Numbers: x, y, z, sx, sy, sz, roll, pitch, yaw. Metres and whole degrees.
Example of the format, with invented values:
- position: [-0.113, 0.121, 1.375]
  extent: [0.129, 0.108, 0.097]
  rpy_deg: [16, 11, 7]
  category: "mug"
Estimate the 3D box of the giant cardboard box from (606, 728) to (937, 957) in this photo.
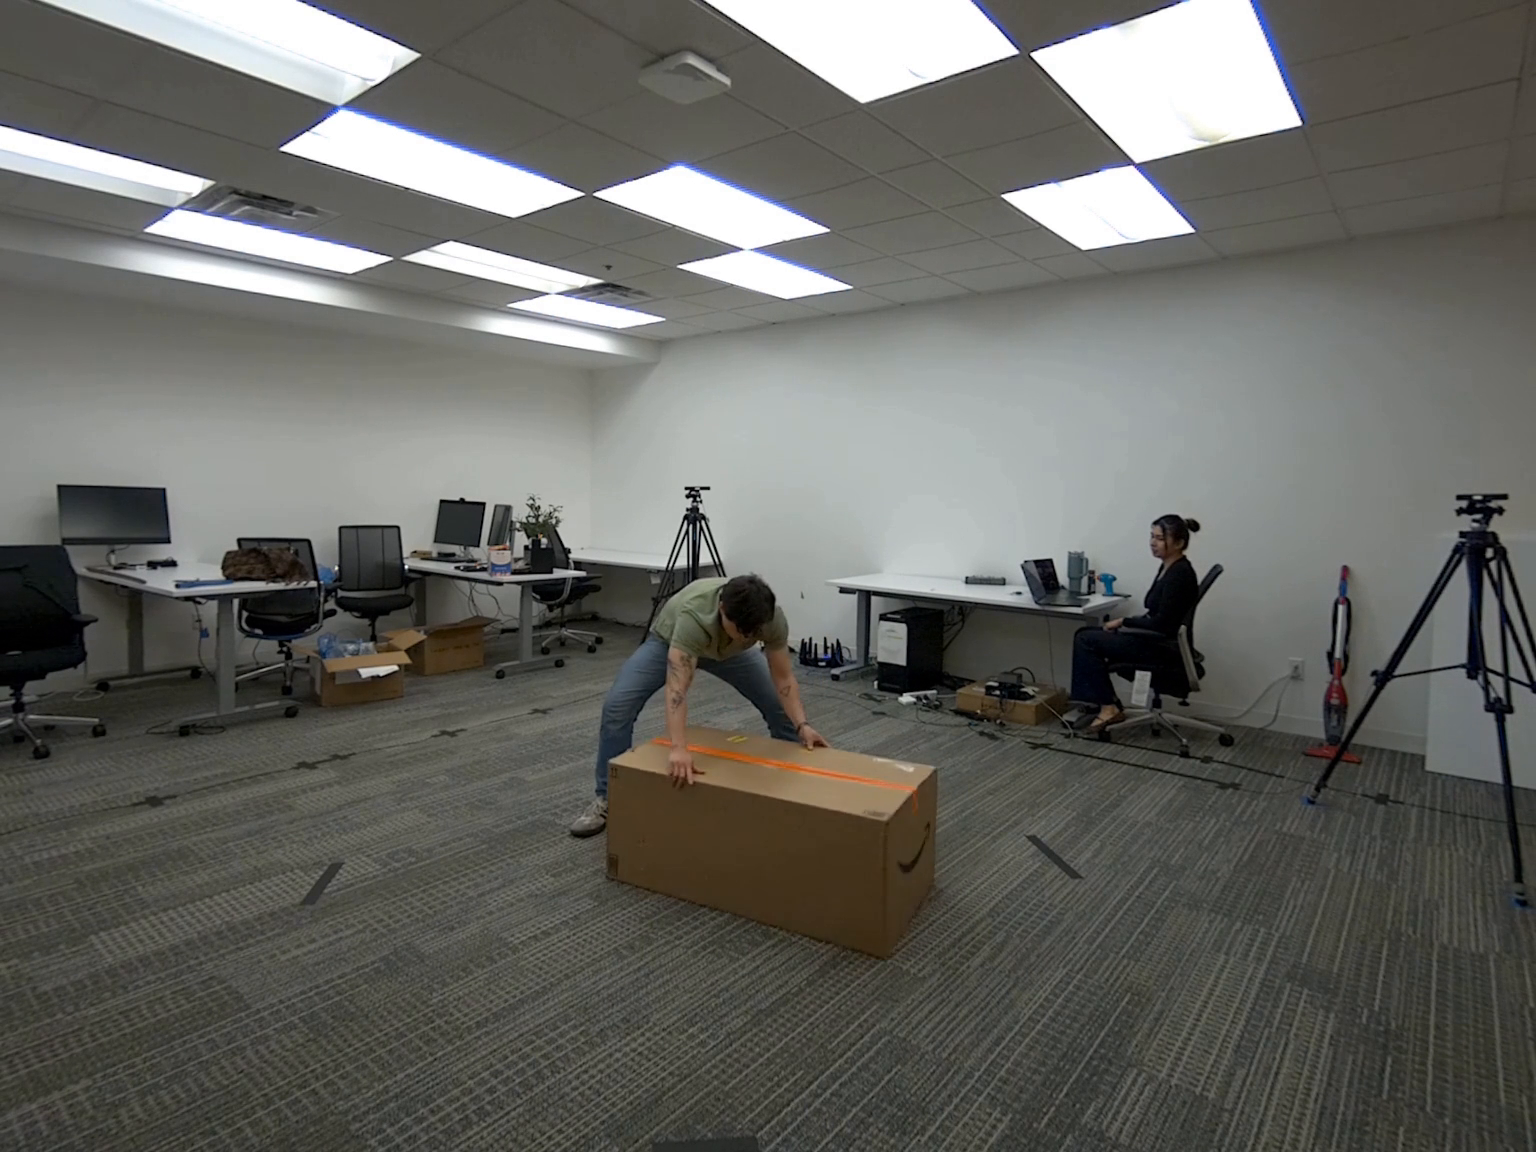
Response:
- position: [-0.002, 0.865, 3.007]
  extent: [1.054, 0.425, 0.564]
  rpy_deg: [4, 5, 27]
  category: "giant cardboard box"
